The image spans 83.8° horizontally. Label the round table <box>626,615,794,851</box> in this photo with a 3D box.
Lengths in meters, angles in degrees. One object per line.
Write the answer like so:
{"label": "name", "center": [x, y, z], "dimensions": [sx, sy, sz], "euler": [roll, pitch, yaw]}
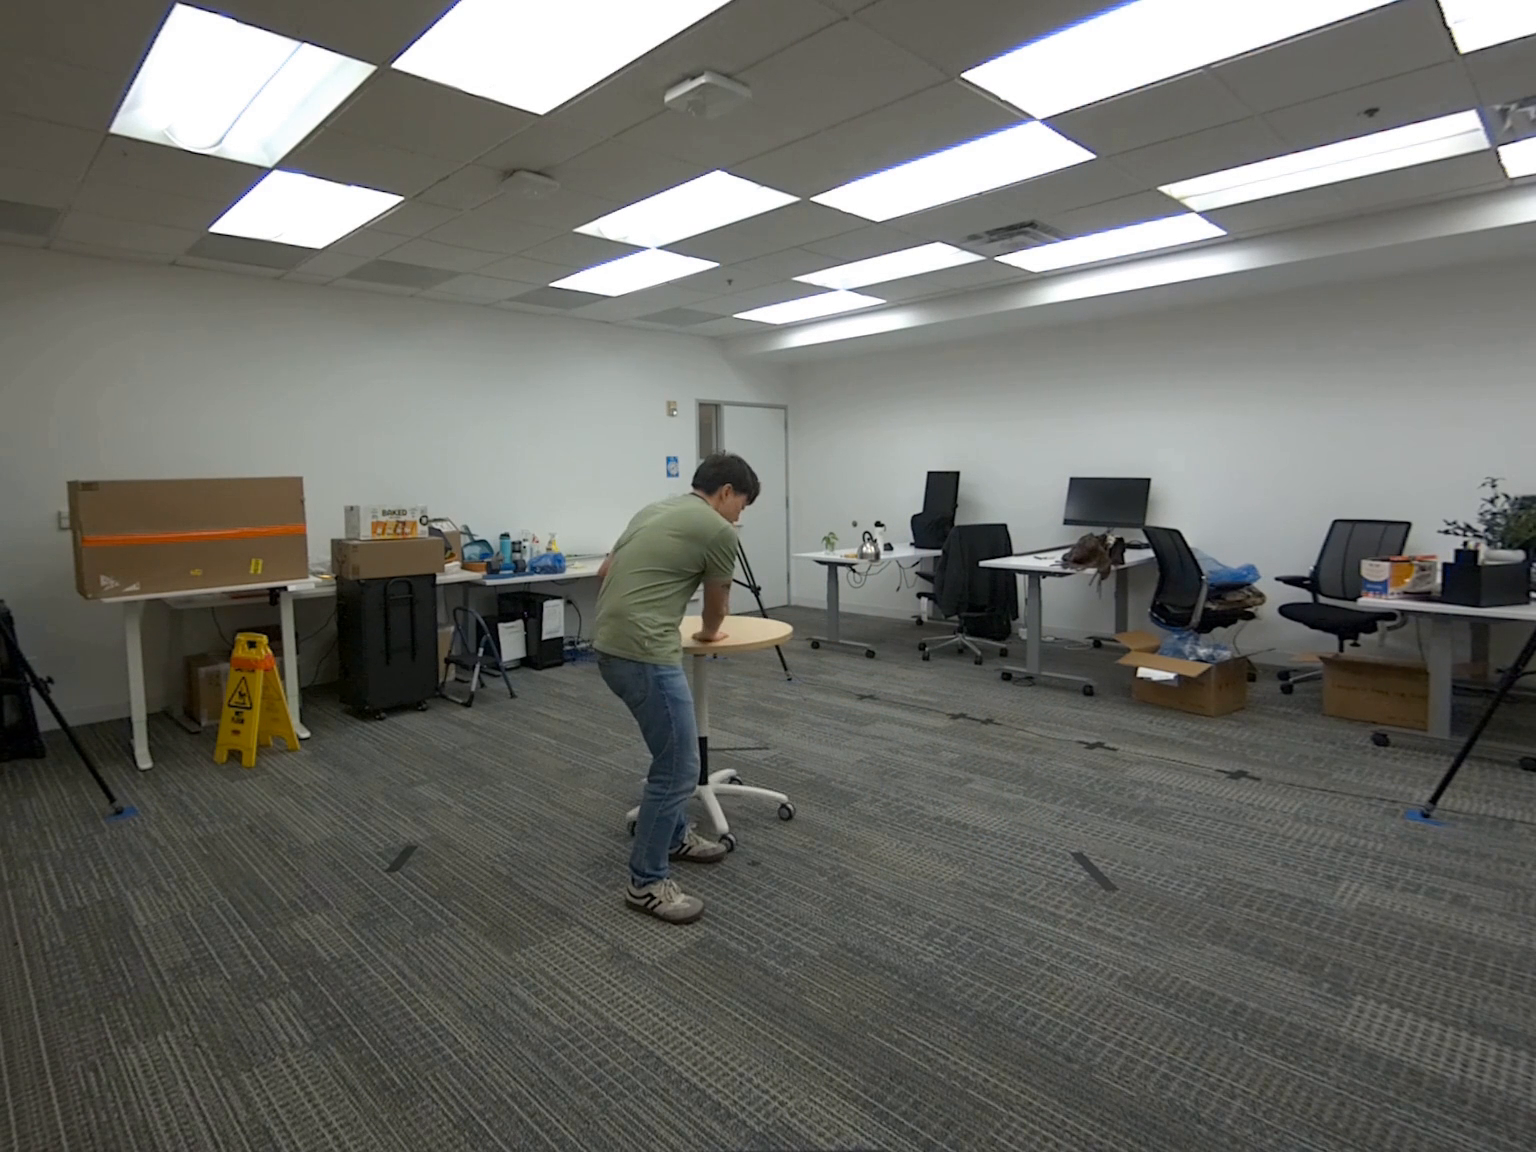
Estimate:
{"label": "round table", "center": [-0.272, 0.612, 3.520], "dimensions": [0.763, 0.791, 0.767], "euler": [-1, 4, -2]}
